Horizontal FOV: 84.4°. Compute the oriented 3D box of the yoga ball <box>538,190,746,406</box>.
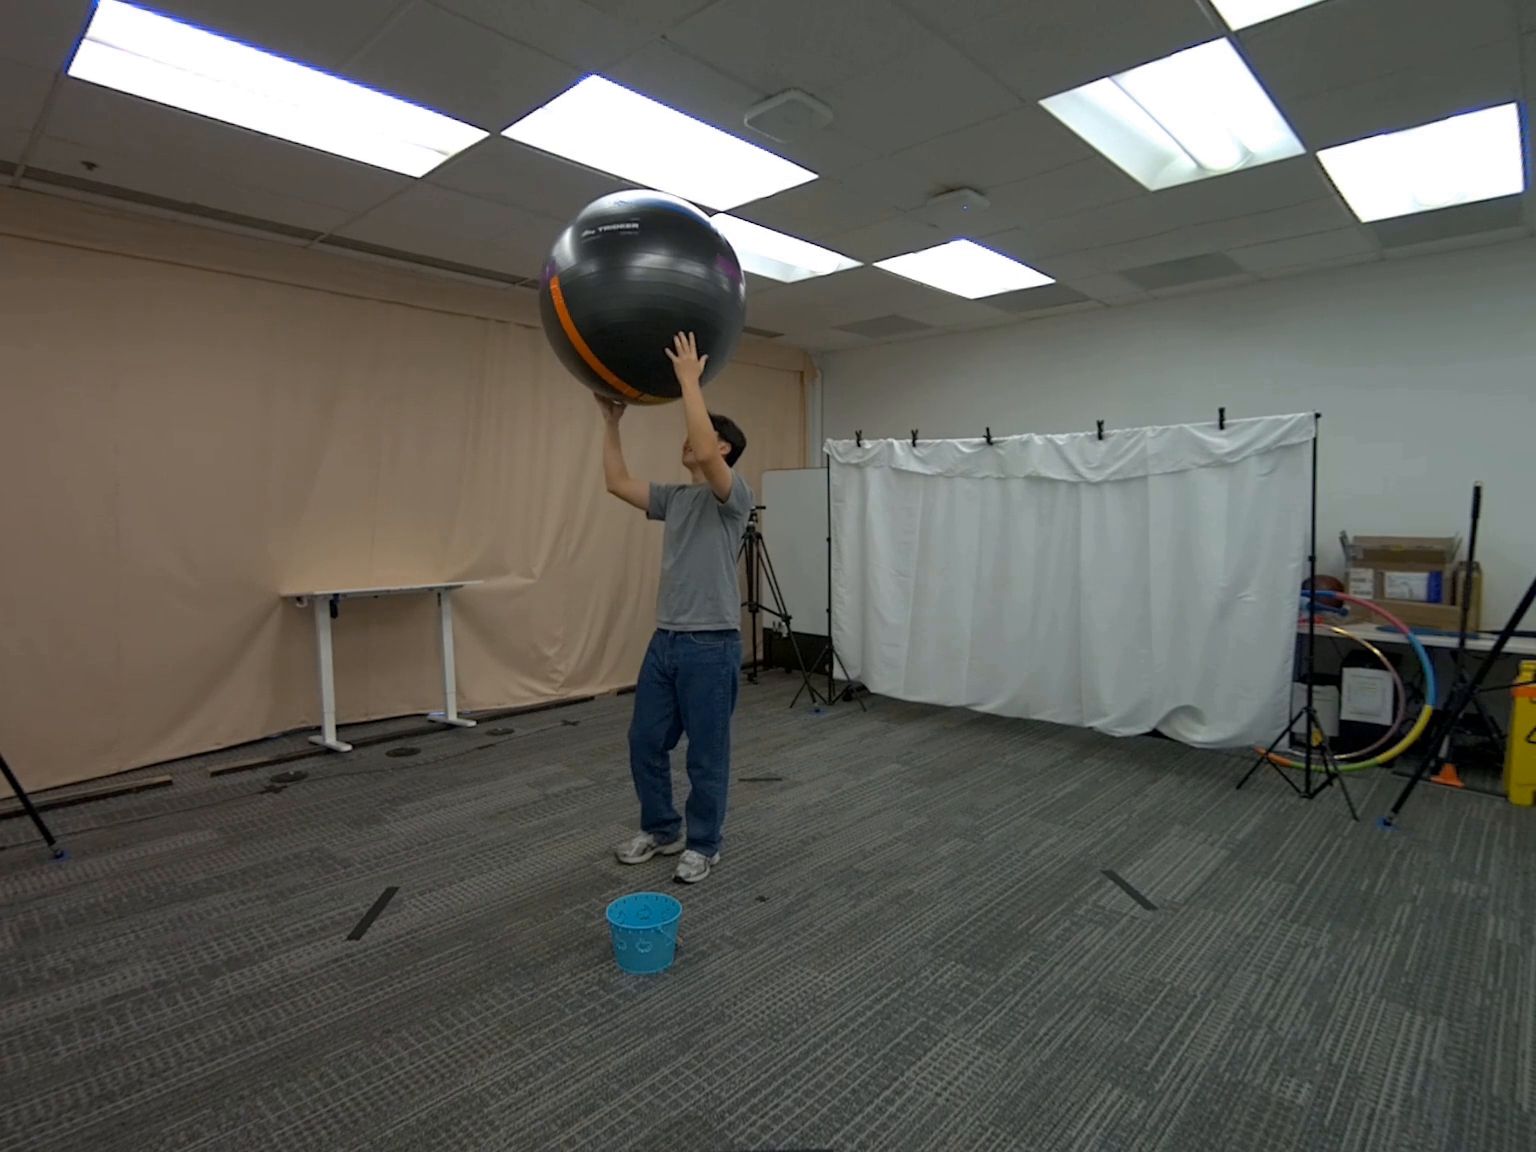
[{"bbox_3d":[-0.468,-1.023,3.113,0.757,0.756,0.761,0,4,-2],"label":"yoga ball"}]
